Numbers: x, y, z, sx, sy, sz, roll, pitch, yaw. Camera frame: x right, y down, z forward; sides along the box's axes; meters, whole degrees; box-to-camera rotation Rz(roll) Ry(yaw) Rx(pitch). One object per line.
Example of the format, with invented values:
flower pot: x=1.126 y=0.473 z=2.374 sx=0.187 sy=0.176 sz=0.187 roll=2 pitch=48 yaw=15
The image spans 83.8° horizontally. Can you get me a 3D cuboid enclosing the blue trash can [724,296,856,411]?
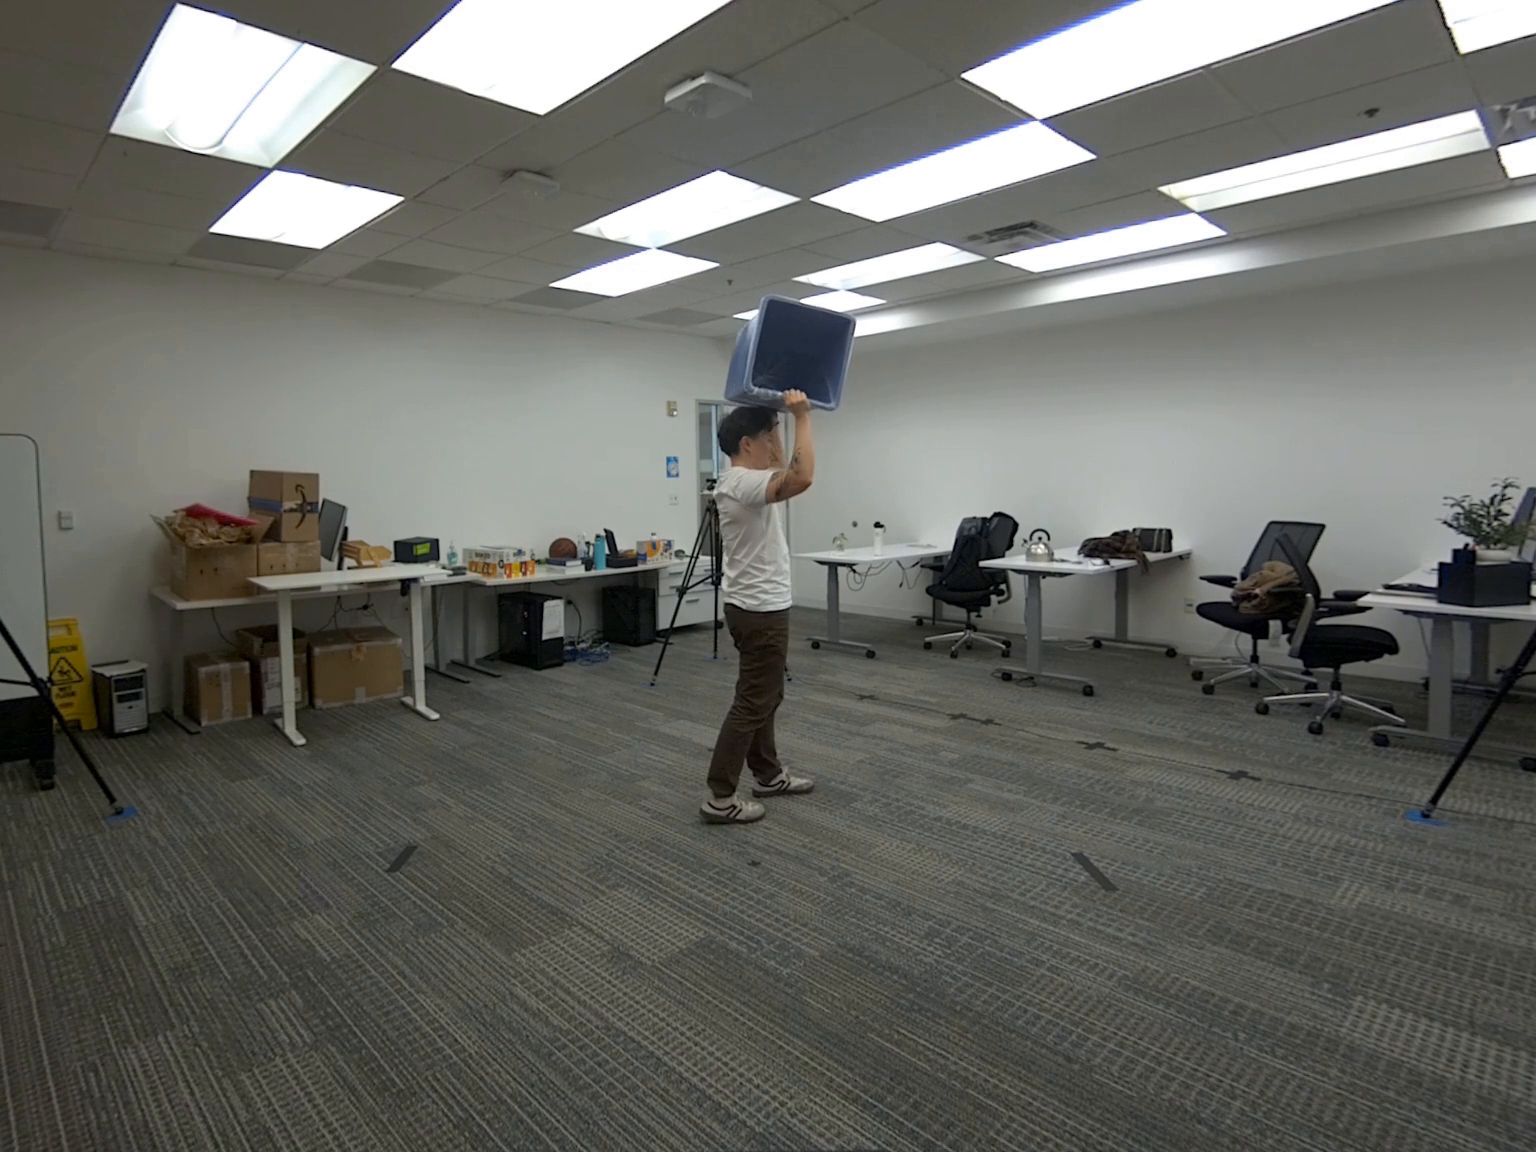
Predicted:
blue trash can: x=0.054 y=-0.872 z=3.511 sx=0.370 sy=0.377 sz=0.724 roll=10 pitch=5 yaw=-12
